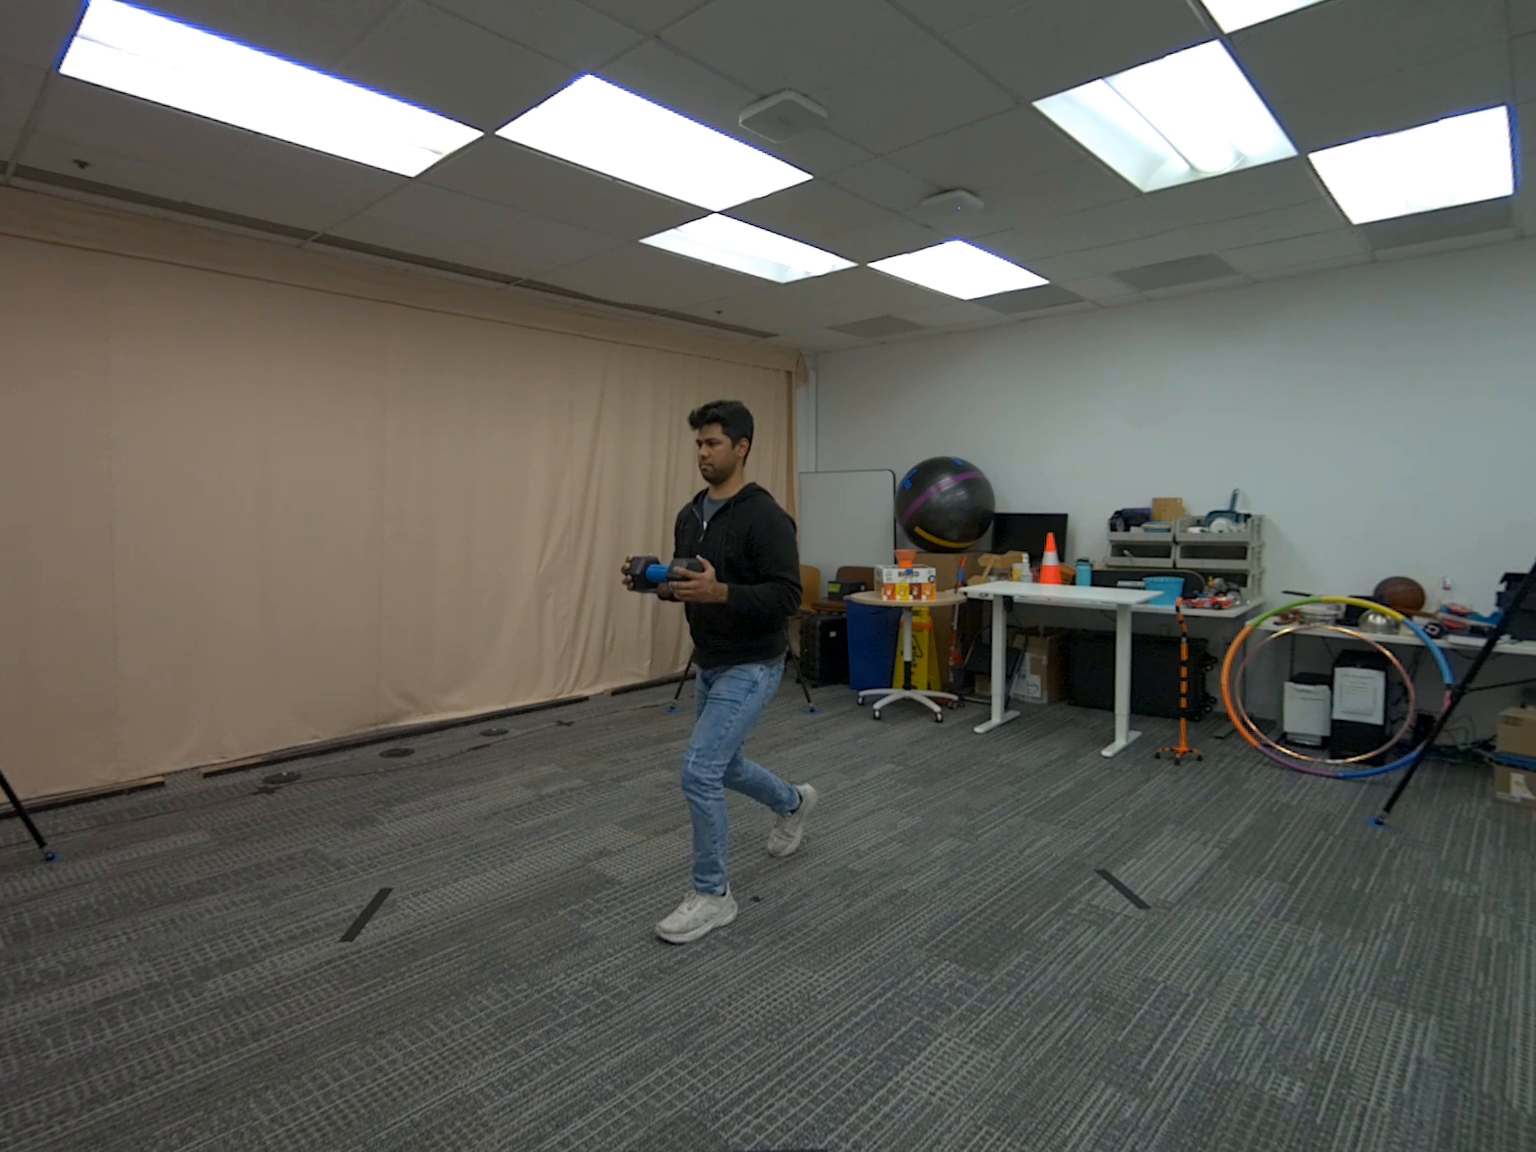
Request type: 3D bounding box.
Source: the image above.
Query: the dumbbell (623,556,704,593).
[{"bbox_3d":[-0.321,0.005,2.722,0.303,0.120,0.107,3,36,47],"label":"dumbbell"}]
